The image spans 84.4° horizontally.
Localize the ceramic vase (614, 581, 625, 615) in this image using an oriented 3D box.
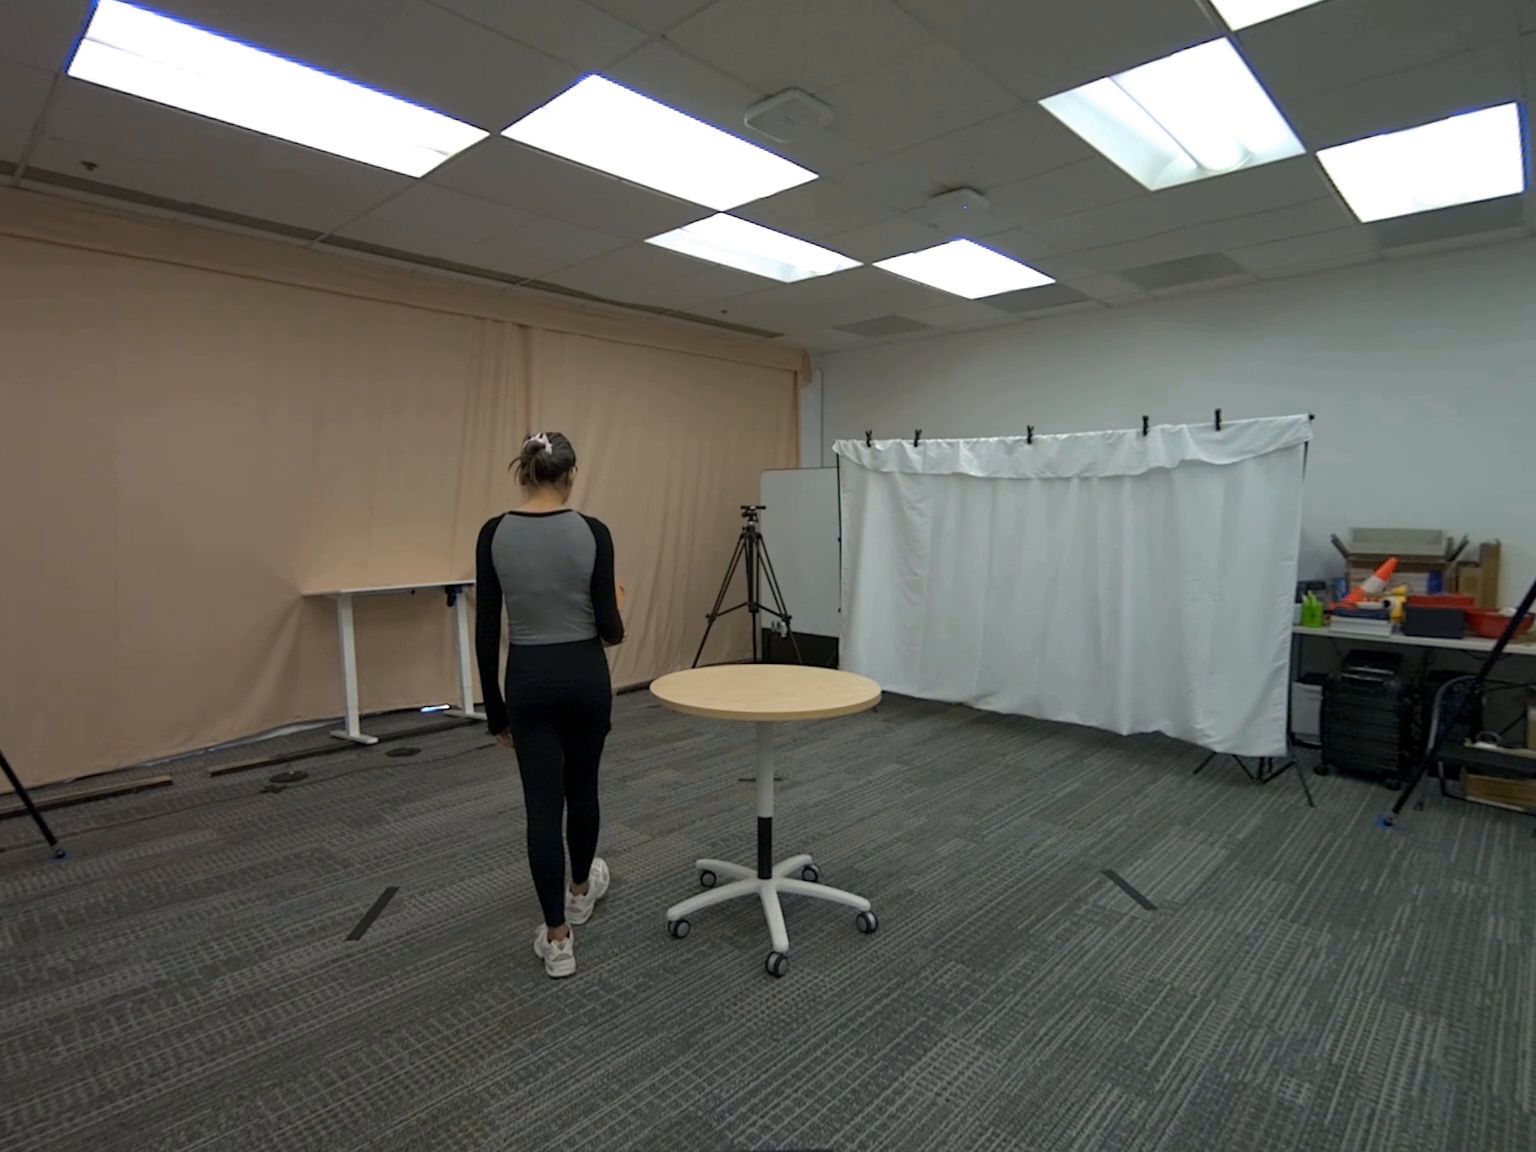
[{"bbox_3d":[-0.555,0.125,2.877,0.158,0.219,0.136,-11,5,-4],"label":"ceramic vase"}]
